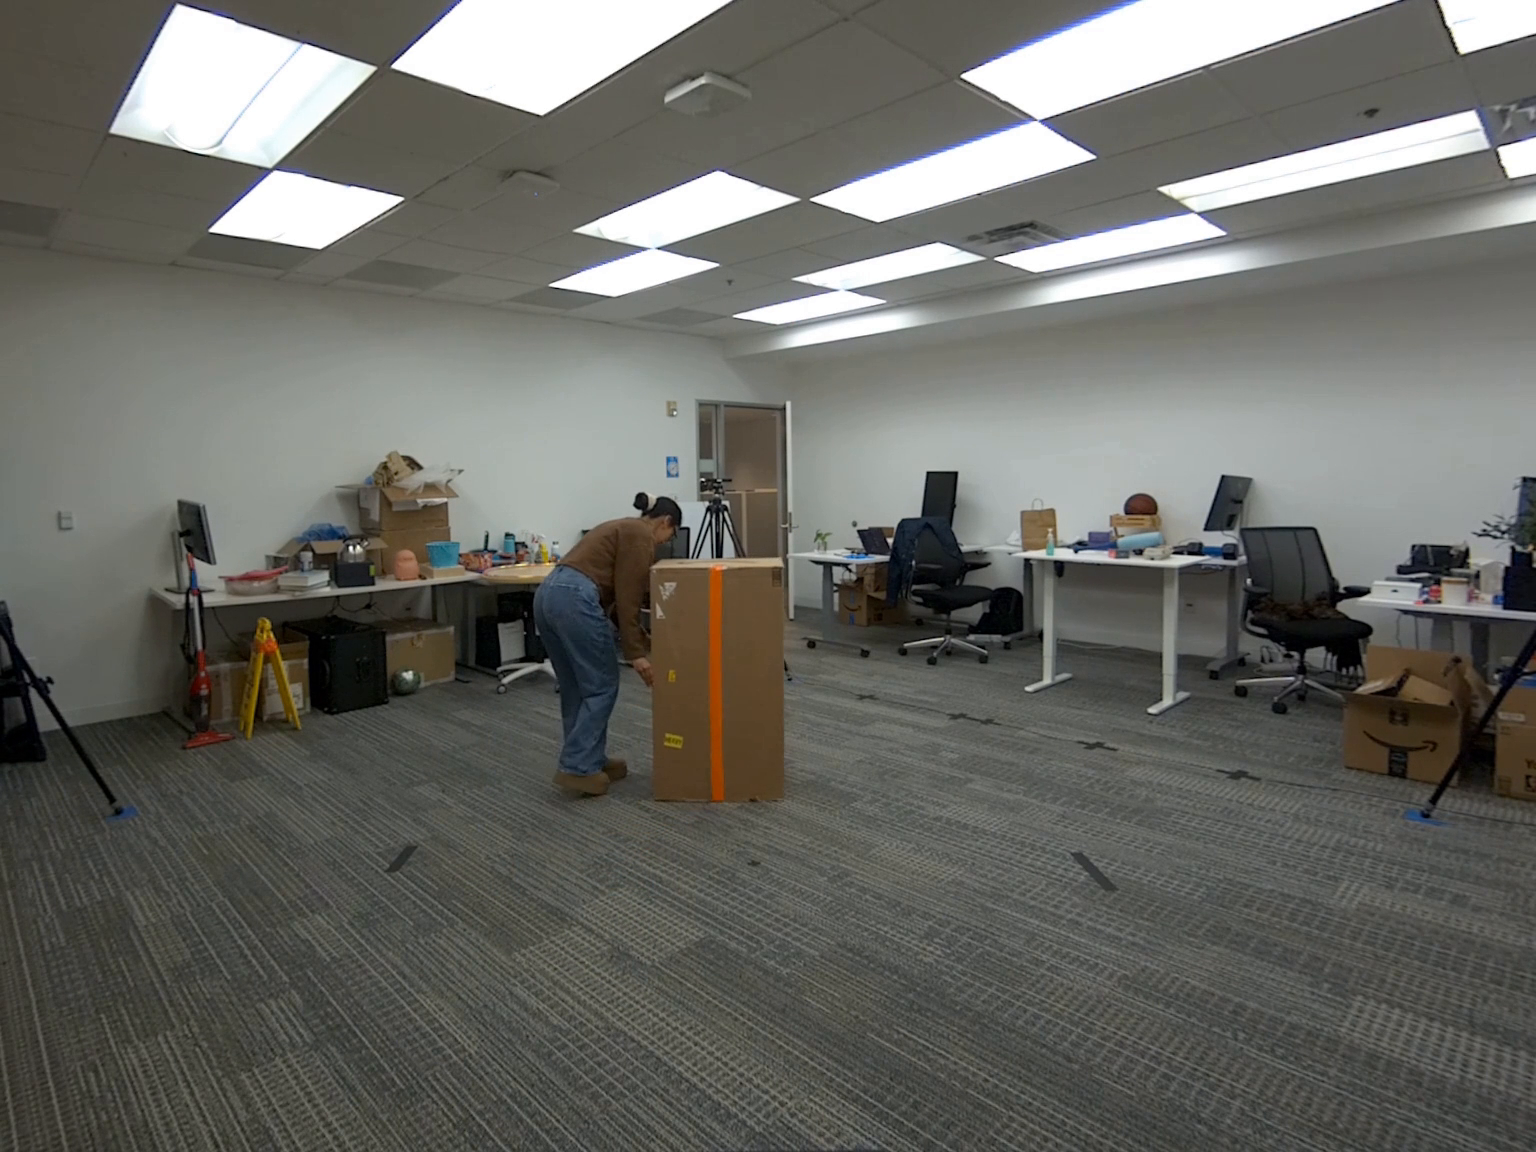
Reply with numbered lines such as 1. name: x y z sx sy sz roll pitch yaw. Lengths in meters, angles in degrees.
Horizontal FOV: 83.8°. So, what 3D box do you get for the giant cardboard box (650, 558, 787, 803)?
1. giant cardboard box: -0.225 0.452 3.887 0.578 1.022 0.427 0 4 1
